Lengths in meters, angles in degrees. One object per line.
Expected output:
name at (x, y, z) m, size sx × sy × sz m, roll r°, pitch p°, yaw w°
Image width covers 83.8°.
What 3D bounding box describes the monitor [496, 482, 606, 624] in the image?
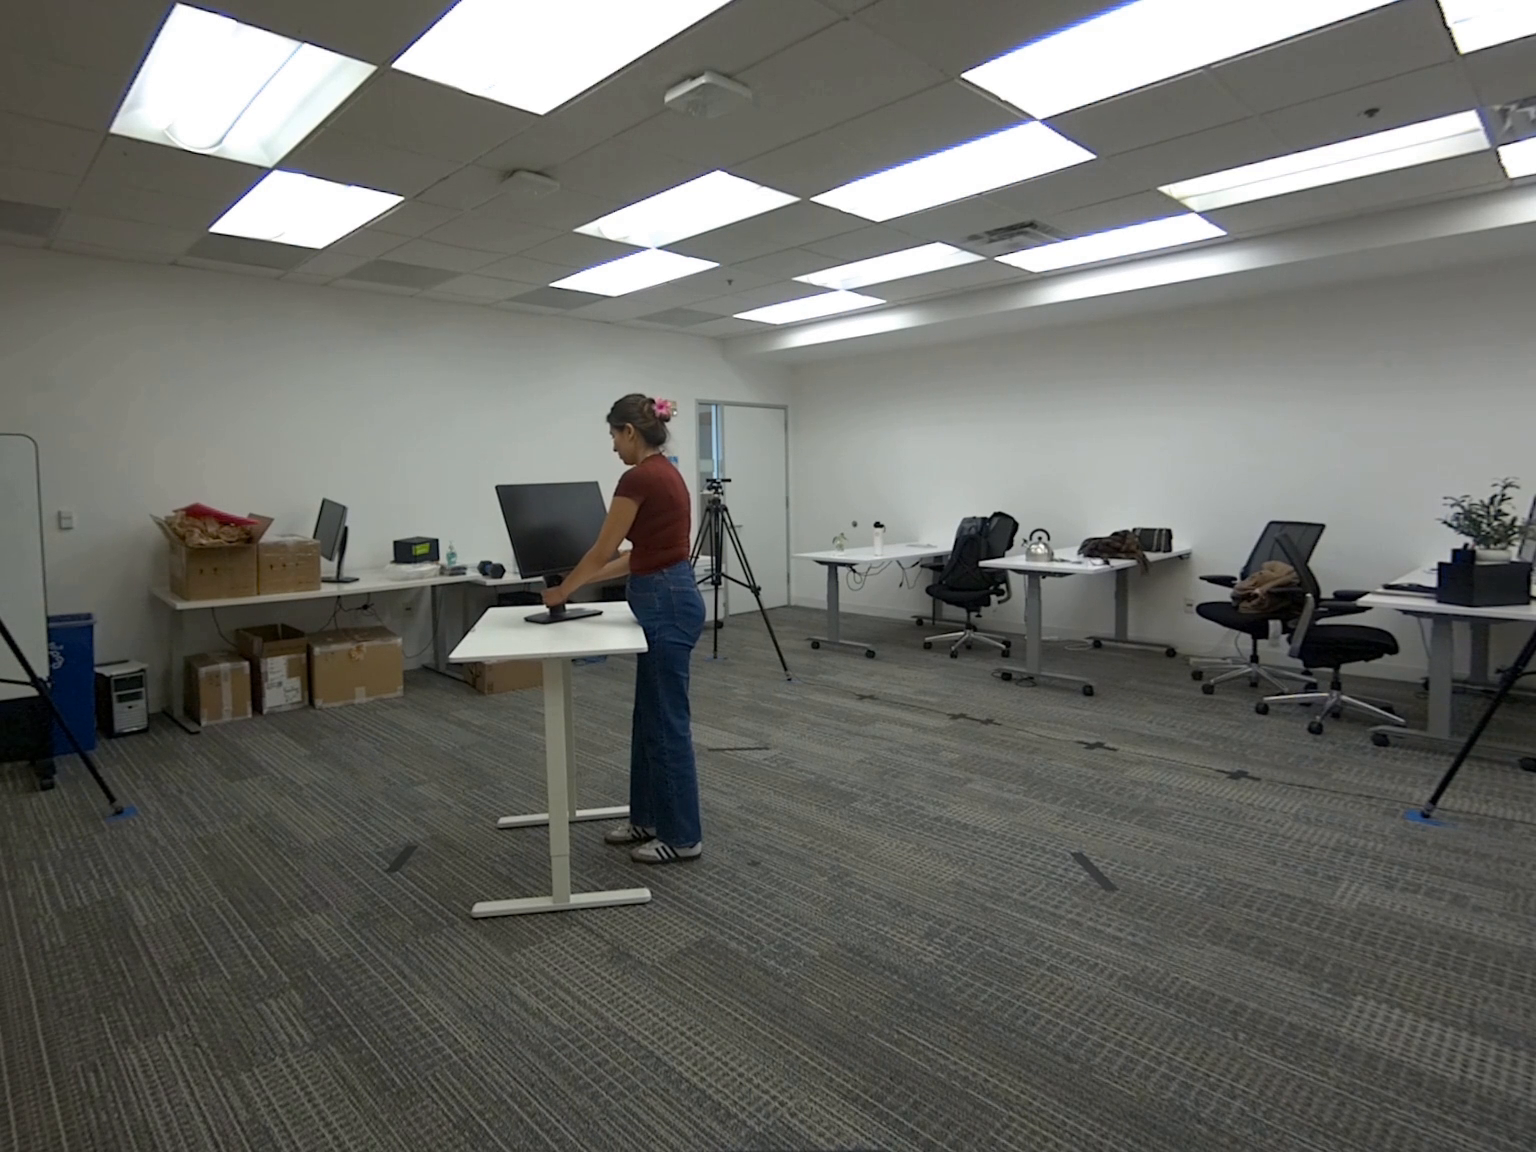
monitor at (-0.804, -0.098, 3.277) m, size 0.192 × 0.521 × 0.527 m, roll -3°, pitch 4°, yaw 30°
